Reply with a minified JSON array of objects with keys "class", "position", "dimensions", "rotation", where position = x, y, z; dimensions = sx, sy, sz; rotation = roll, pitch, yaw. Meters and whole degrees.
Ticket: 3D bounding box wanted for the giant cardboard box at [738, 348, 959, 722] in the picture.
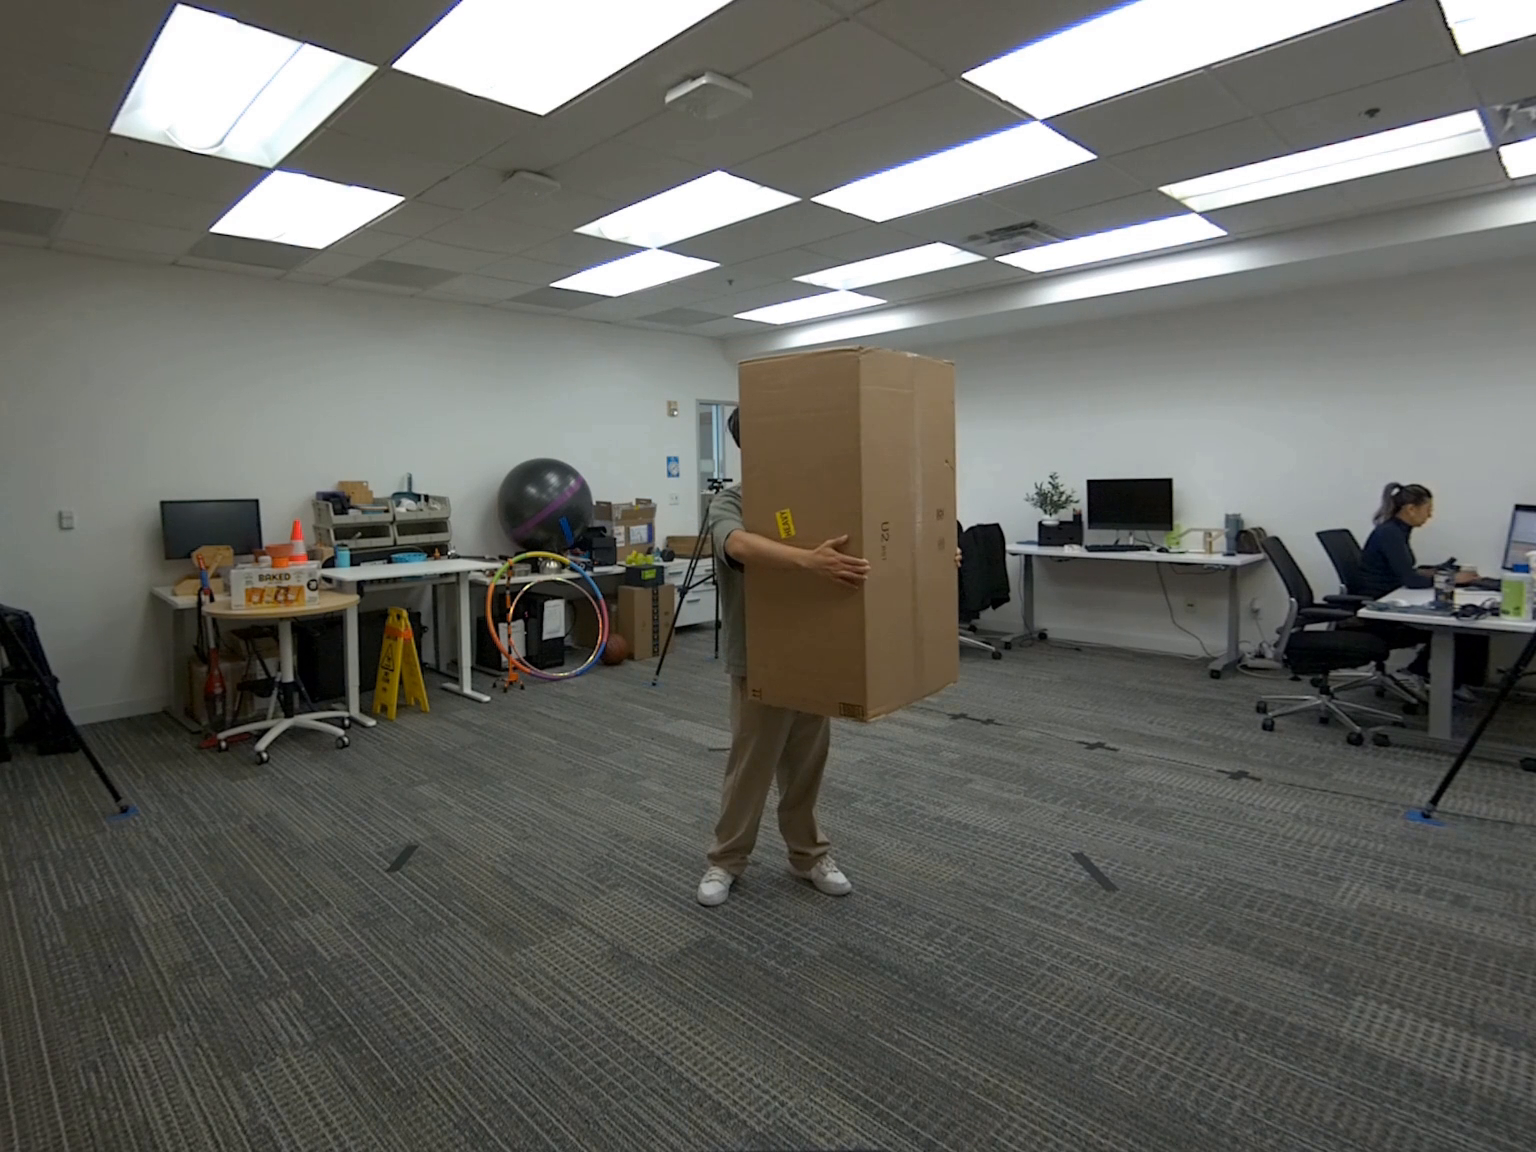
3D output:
[{"class":"giant cardboard box","position":[0.259,-0.148,2.630],"dimensions":[0.439,1.021,0.563],"rotation":[2,6,40]}]
